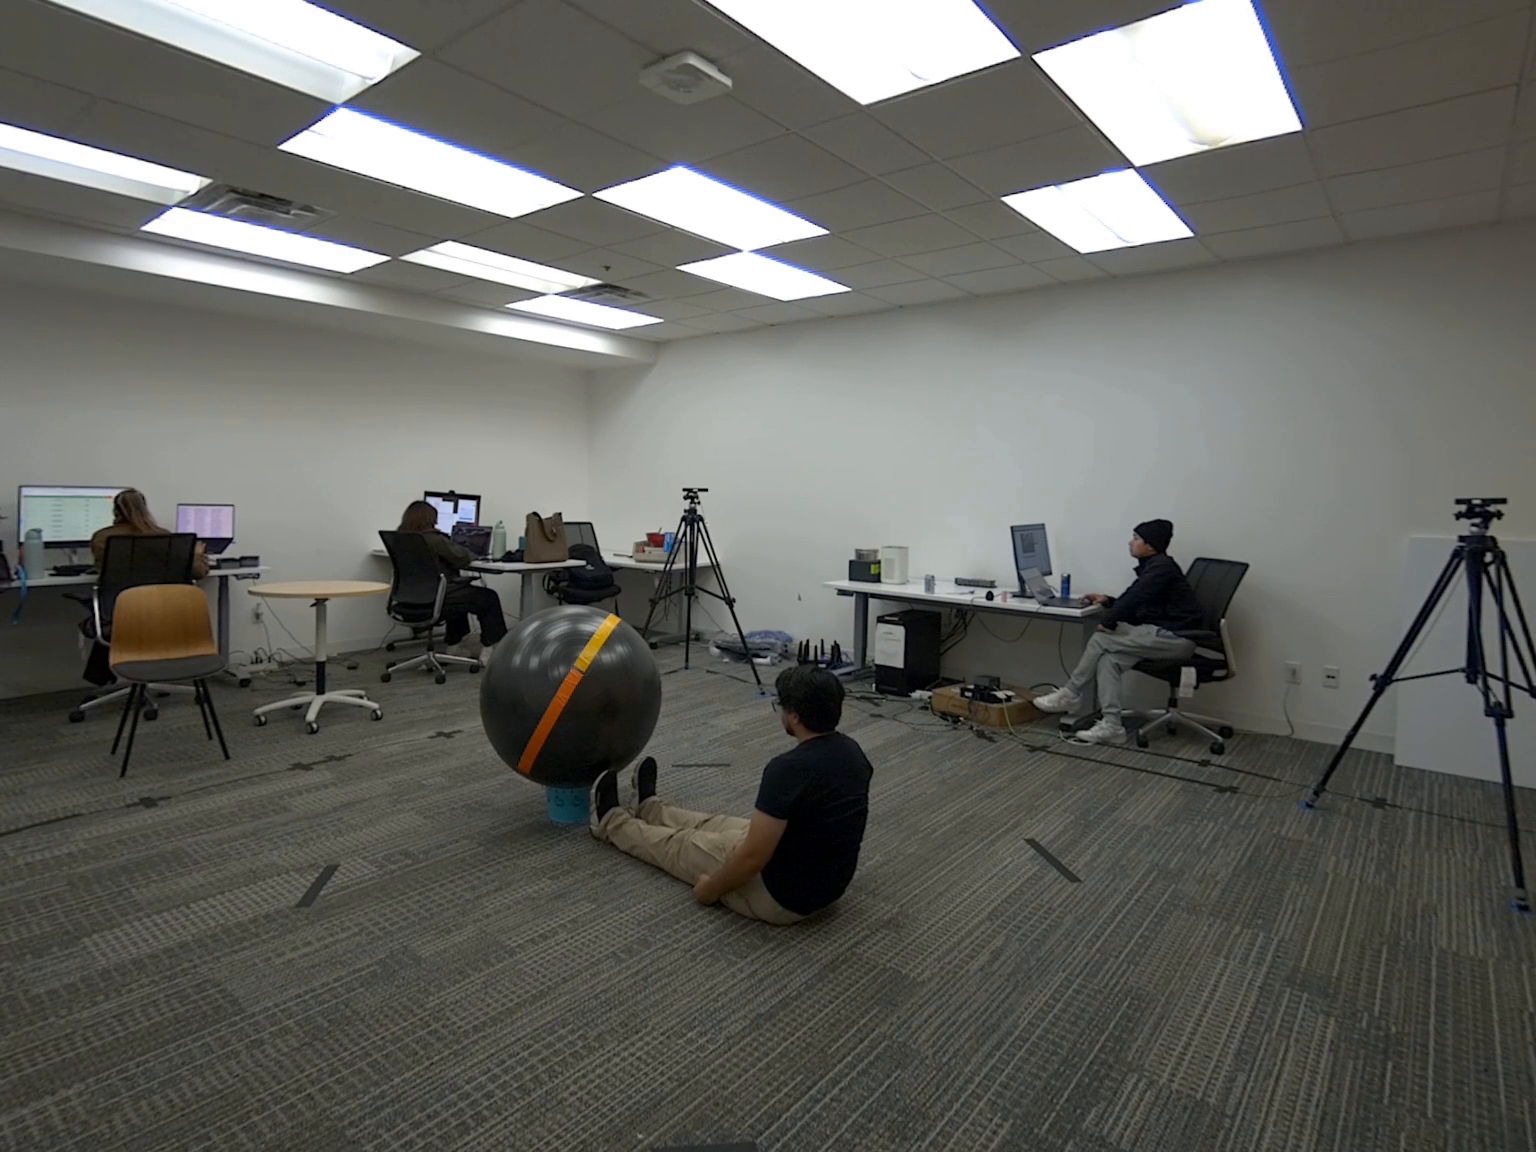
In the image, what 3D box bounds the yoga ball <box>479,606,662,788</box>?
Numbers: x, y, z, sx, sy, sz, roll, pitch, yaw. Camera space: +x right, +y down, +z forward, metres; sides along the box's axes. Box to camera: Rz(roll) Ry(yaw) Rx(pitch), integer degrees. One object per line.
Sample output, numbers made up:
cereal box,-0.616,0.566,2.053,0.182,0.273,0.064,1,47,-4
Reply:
yoga ball,-0.843,0.506,3.594,0.757,0.755,0.762,1,4,-2
